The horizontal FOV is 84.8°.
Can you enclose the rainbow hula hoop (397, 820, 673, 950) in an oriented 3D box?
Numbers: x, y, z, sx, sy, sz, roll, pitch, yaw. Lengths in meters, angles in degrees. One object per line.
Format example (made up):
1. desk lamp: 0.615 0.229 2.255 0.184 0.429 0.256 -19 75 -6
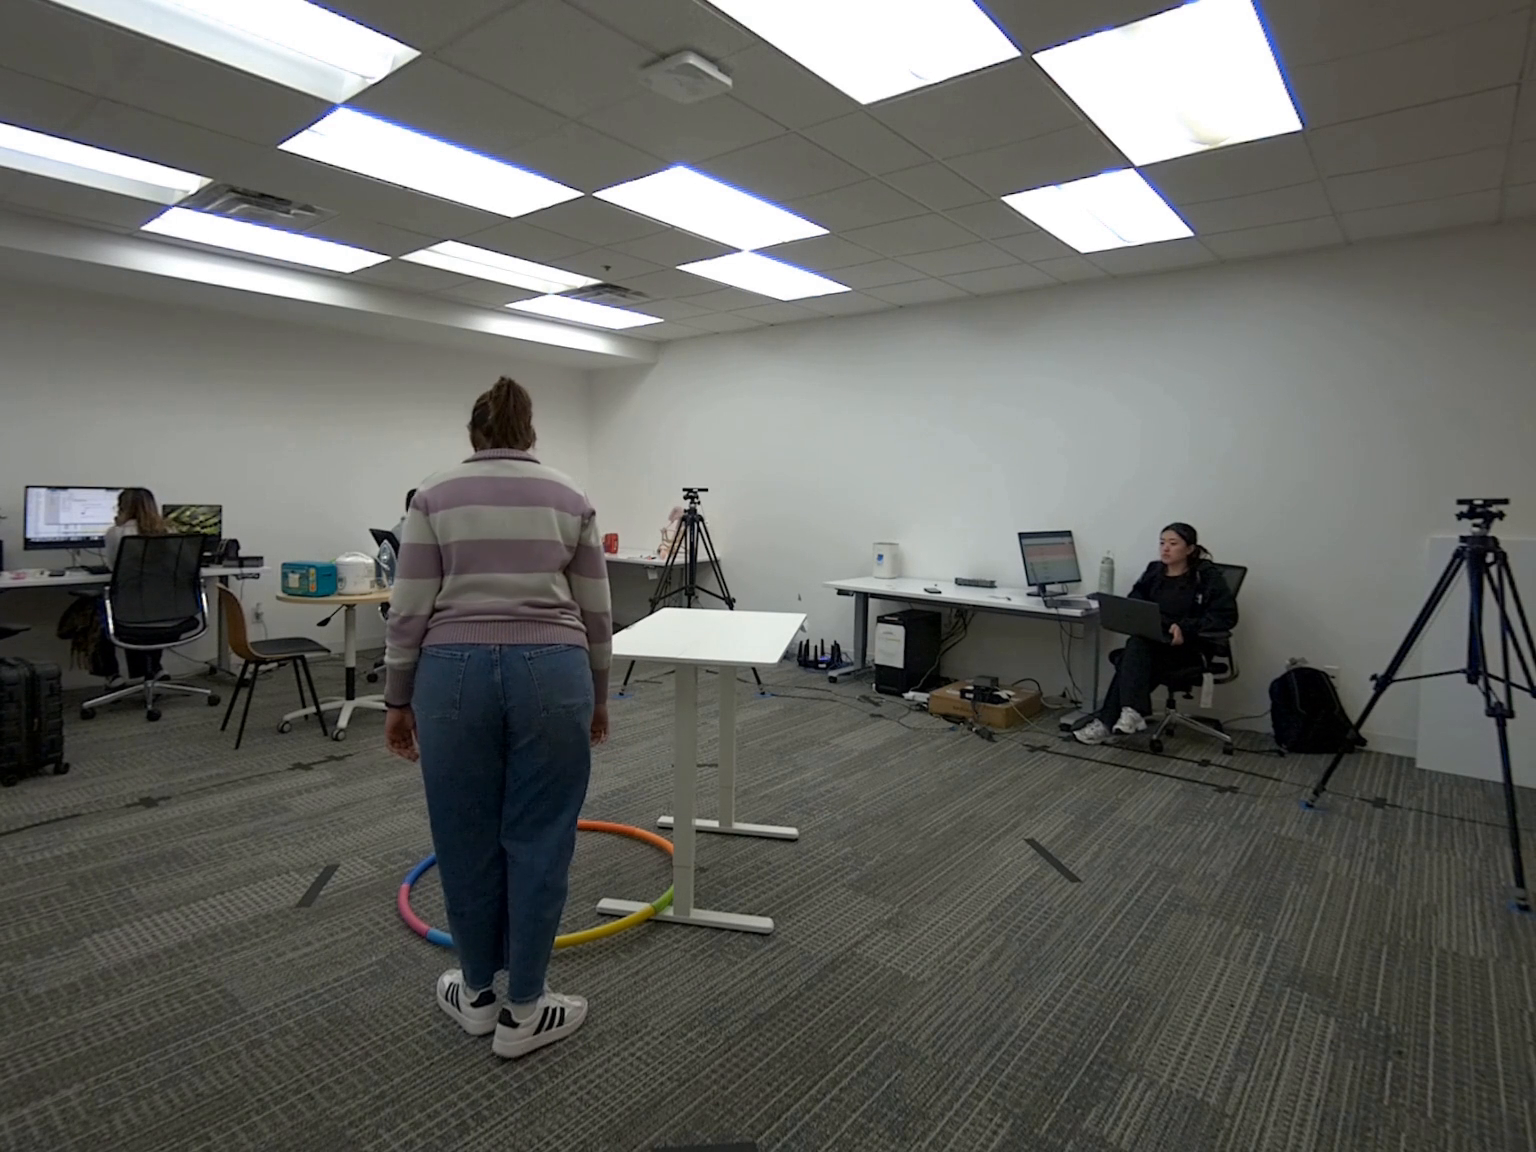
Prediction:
1. rainbow hula hoop: -0.789 1.042 2.978 0.978 0.035 0.983 -1 5 -2
